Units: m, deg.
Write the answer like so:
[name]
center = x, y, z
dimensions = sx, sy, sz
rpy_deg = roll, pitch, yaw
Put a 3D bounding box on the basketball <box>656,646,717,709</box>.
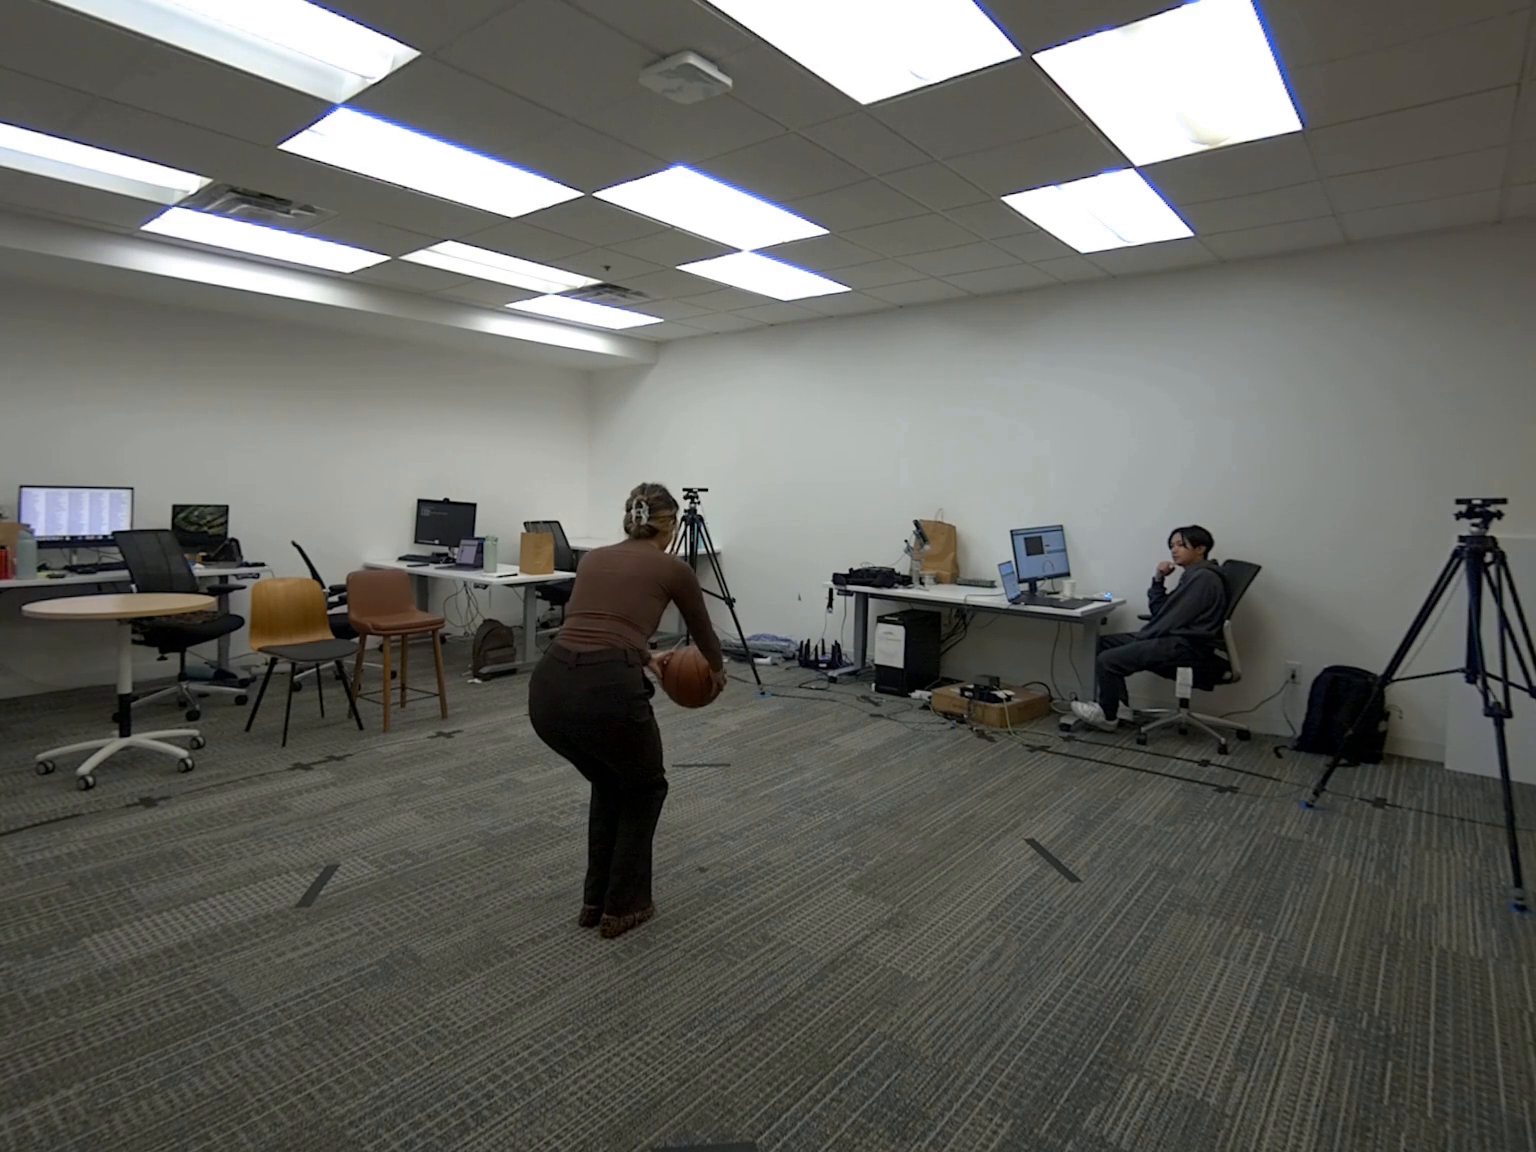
[basketball]
center = -0.298, 0.379, 3.271
dimensions = 0.235, 0.235, 0.237
rpy_deg = 1, 4, -2
